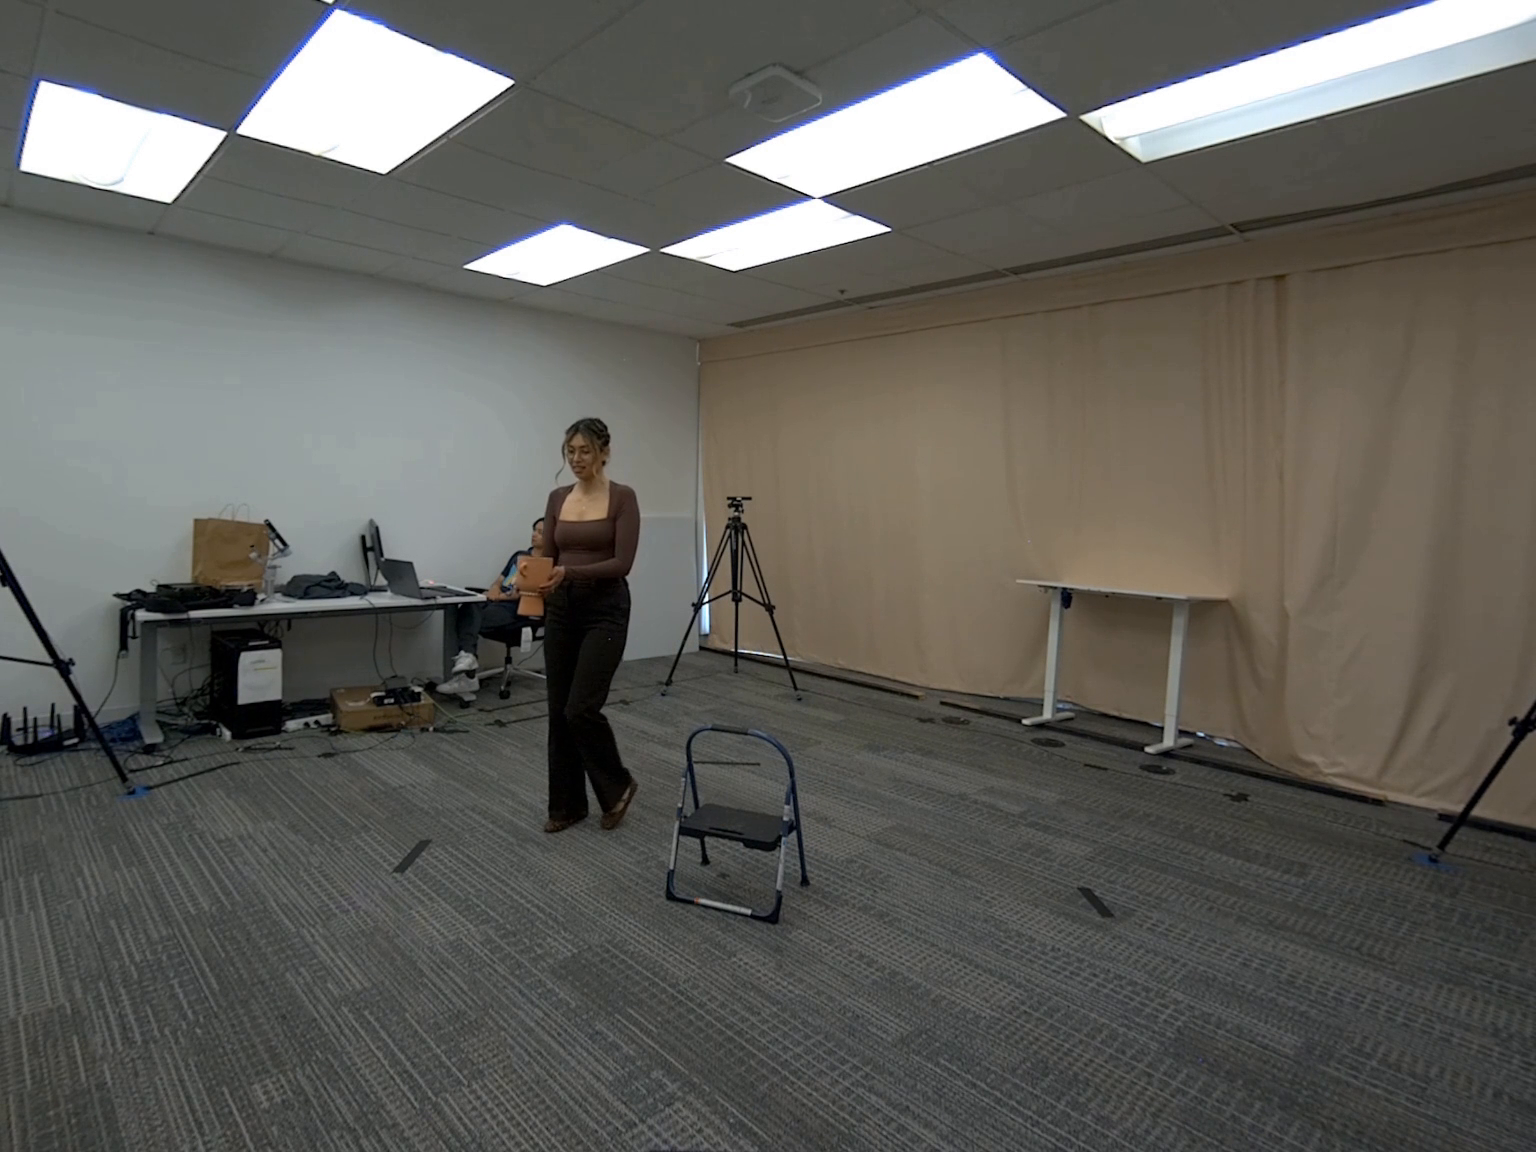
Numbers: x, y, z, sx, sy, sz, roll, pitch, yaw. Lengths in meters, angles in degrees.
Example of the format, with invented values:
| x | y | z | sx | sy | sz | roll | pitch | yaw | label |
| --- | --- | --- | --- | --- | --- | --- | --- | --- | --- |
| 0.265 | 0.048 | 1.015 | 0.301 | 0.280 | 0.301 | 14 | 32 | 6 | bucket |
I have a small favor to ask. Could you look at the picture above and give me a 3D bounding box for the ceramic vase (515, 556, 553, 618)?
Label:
| x | y | z | sx | sy | sz | roll | pitch | yaw | label |
| --- | --- | --- | --- | --- | --- | --- | --- | --- | --- |
| -0.912 | 0.038 | 3.209 | 0.155 | 0.220 | 0.138 | 6 | 0 | -35 | ceramic vase |
